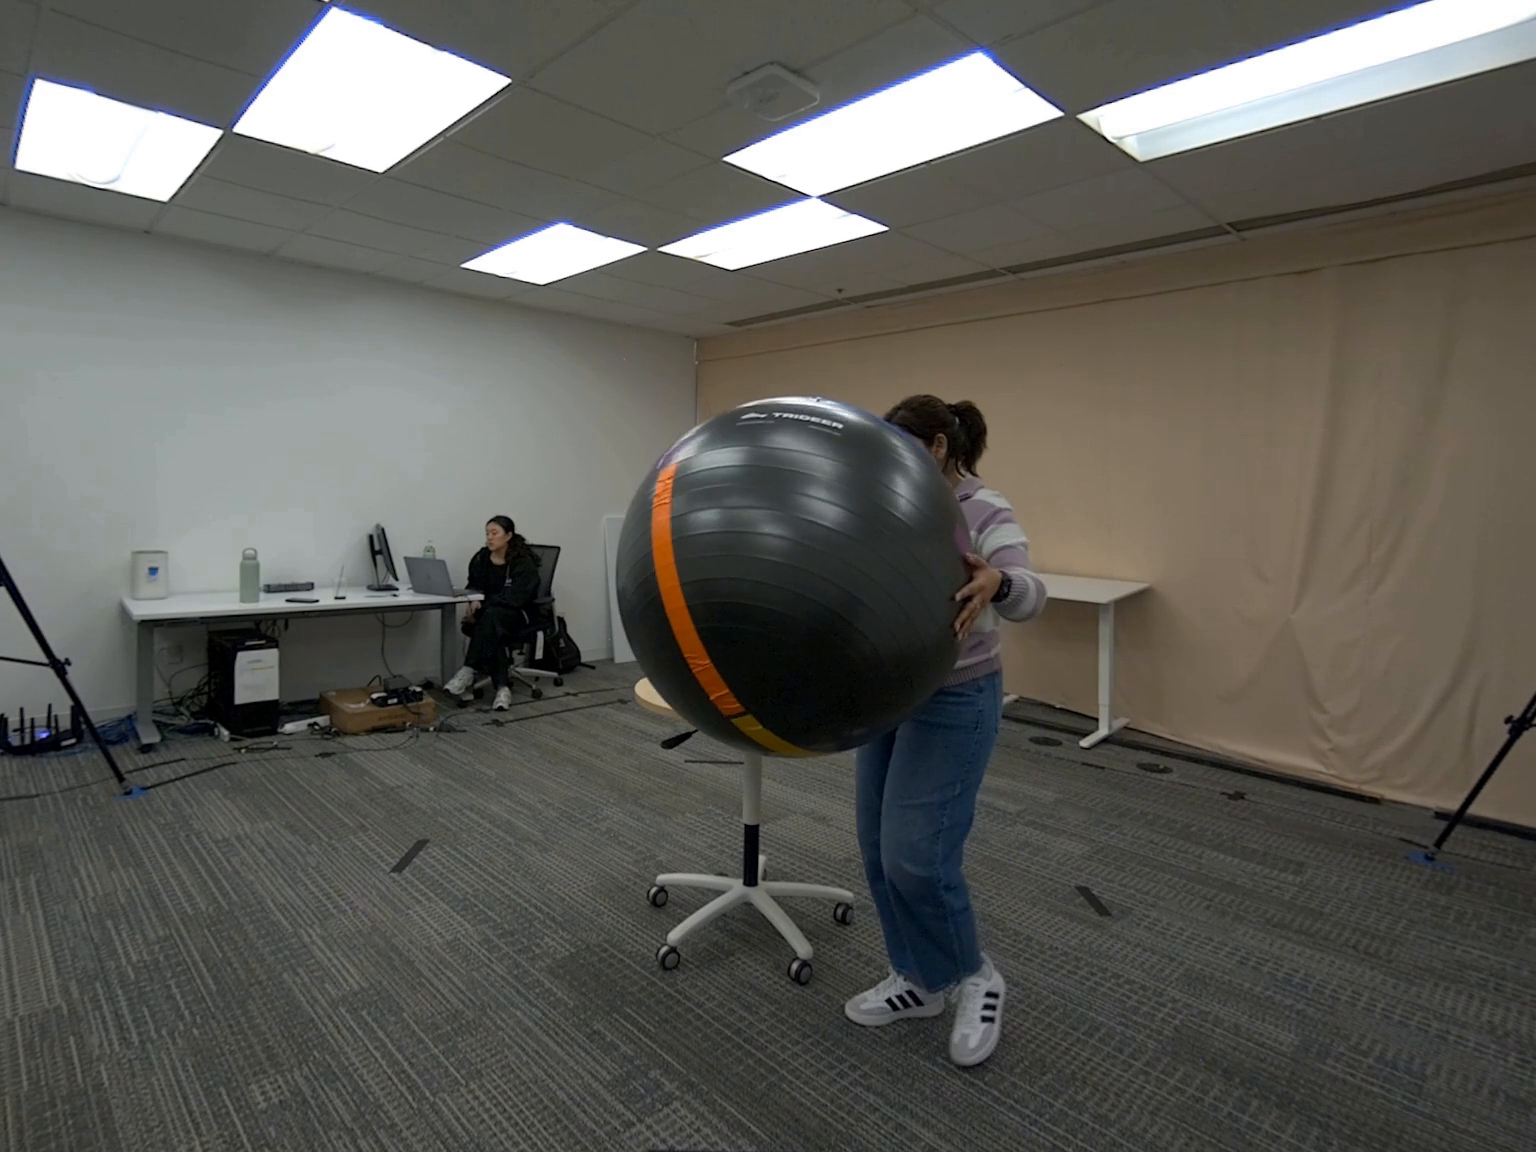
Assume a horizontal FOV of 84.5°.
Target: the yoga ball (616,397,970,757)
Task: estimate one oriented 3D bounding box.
[{"bbox_3d":[0.053,0.014,1.794,0.757,0.756,0.761,1,4,-1],"label":"yoga ball"}]
